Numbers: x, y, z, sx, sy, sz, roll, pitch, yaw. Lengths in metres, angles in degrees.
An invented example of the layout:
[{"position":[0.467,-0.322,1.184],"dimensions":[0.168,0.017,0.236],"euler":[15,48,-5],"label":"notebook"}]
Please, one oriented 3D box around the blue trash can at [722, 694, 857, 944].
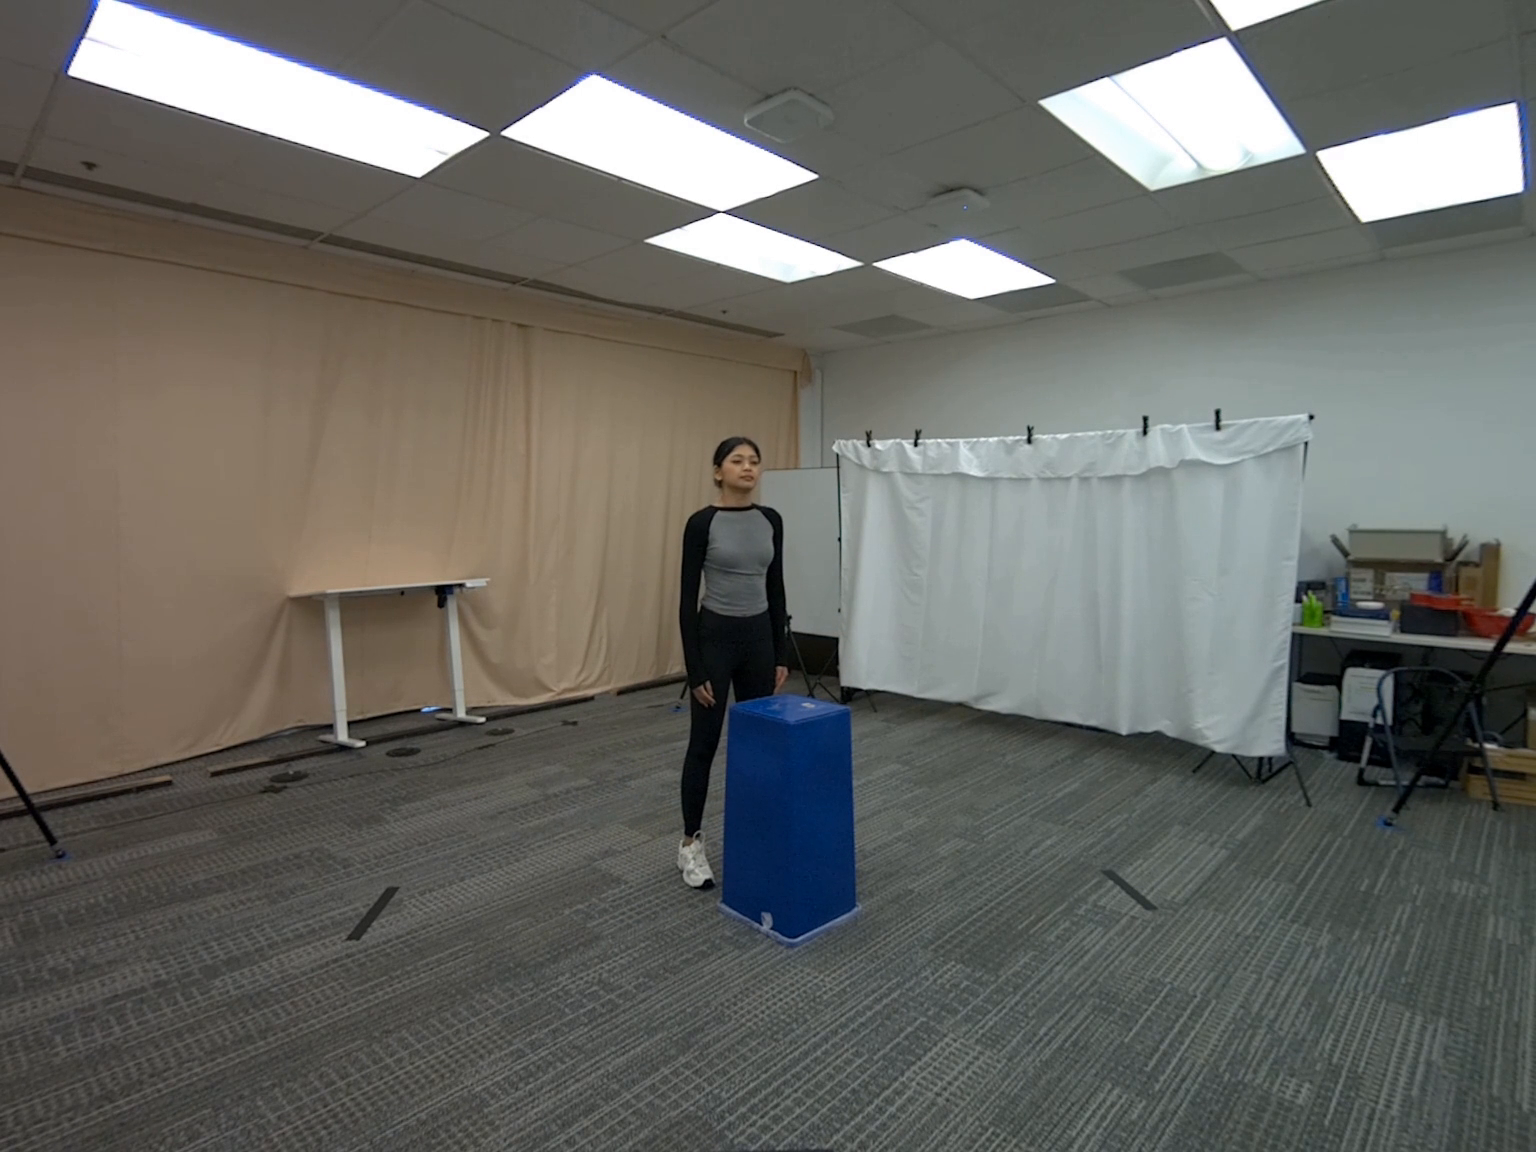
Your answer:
[{"position":[0.085,0.800,2.880],"dimensions":[0.362,0.712,0.391],"euler":[-2,4,-43],"label":"blue trash can"}]
